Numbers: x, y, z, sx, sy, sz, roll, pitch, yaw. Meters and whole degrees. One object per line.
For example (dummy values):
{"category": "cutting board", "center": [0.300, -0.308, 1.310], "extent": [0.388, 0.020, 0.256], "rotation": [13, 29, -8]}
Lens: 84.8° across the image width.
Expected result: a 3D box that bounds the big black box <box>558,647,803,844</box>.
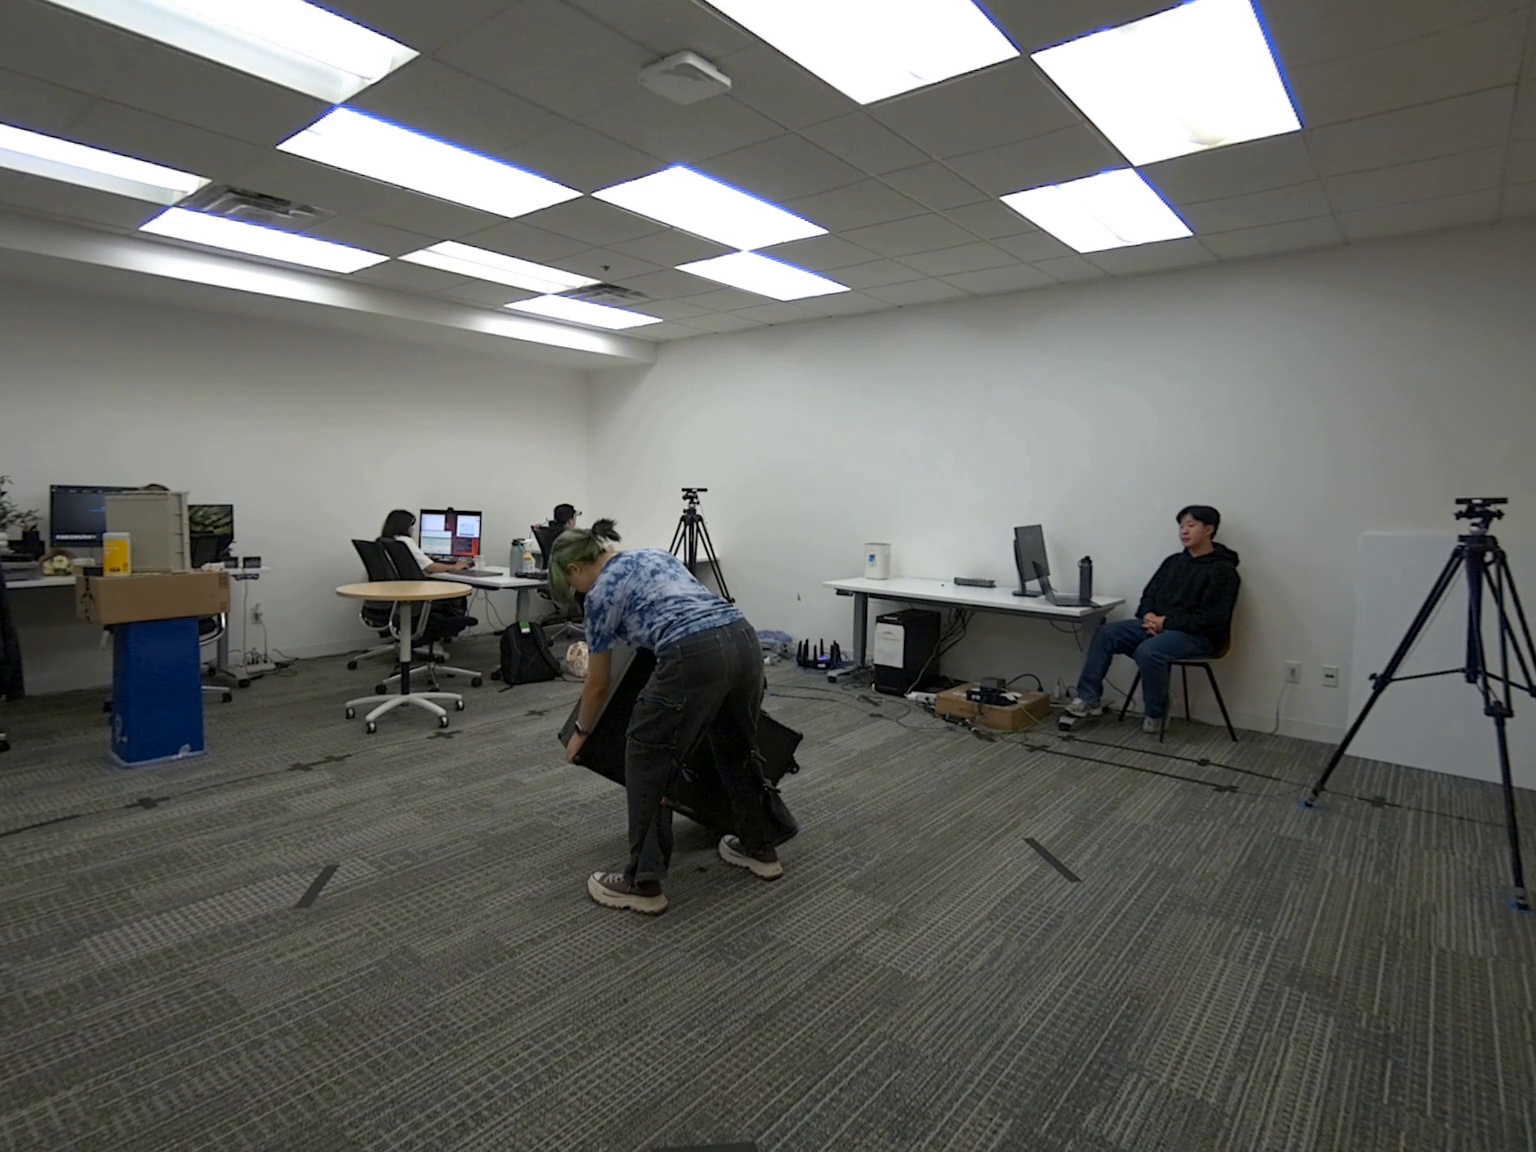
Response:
{"category": "big black box", "center": [-0.341, 0.656, 3.408], "extent": [0.840, 0.522, 0.405], "rotation": [31, -8, -19]}
